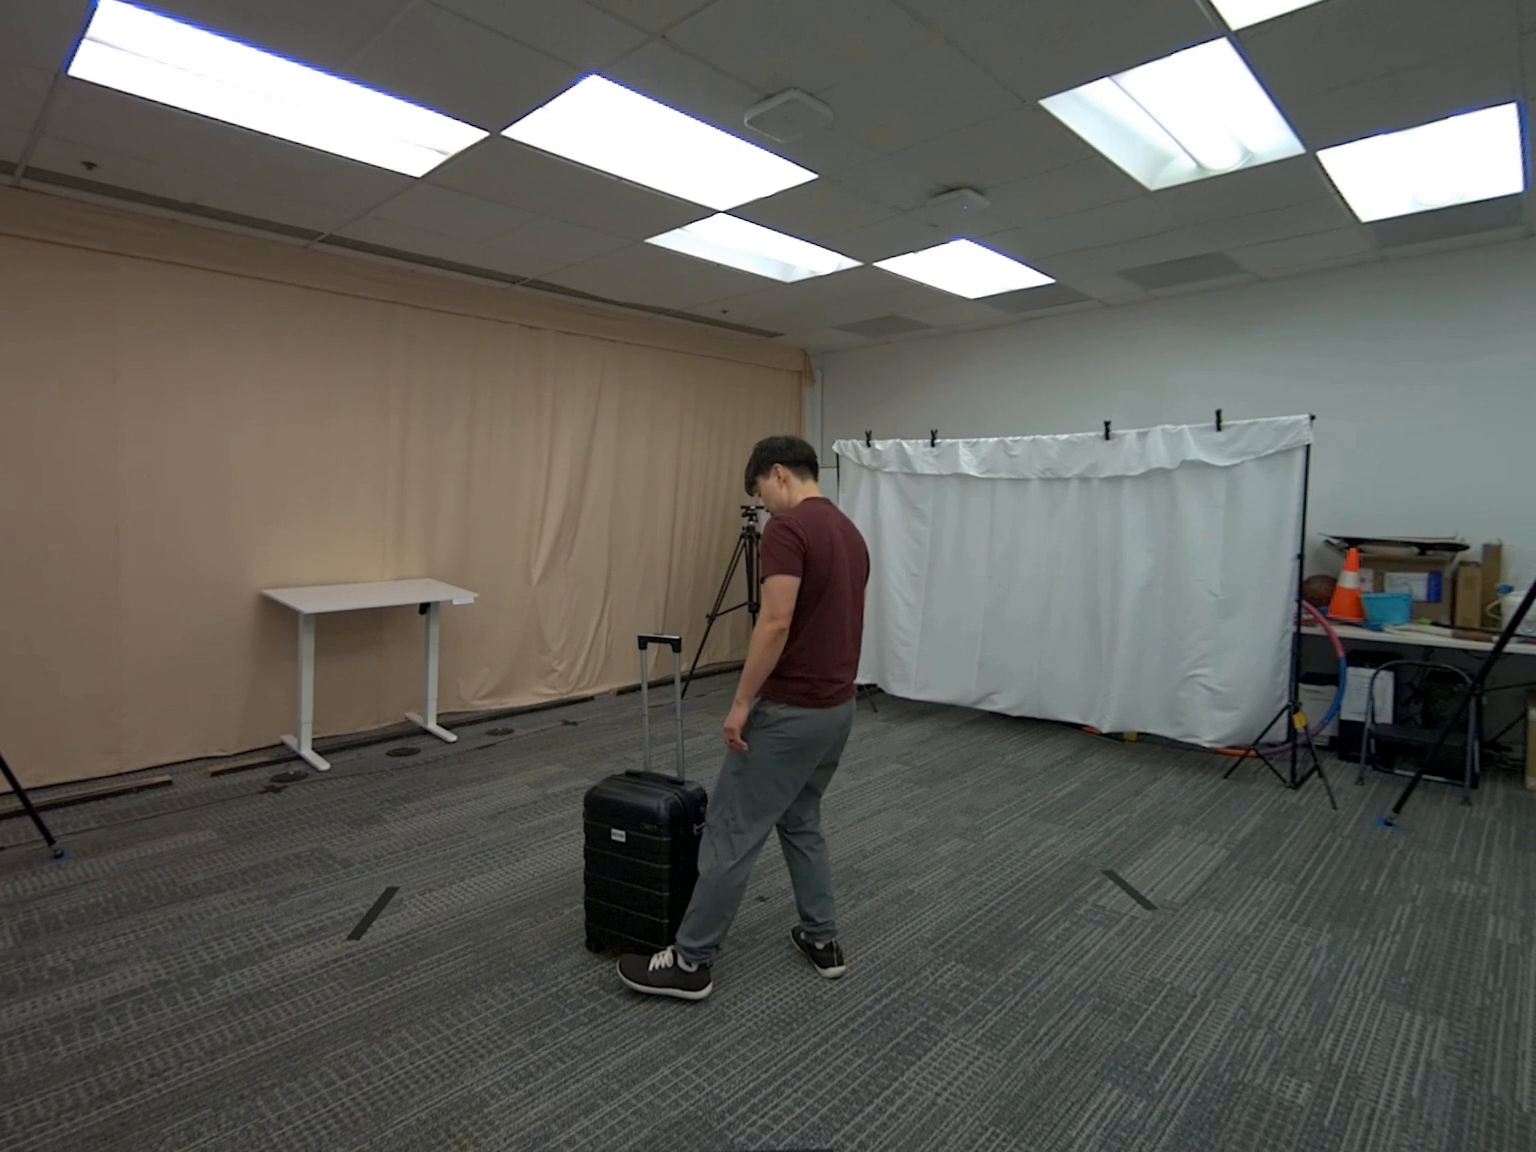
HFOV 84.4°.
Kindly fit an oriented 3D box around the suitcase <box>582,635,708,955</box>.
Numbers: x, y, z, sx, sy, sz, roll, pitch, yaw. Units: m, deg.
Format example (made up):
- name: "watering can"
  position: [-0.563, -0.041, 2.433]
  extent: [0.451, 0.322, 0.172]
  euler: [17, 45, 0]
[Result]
- name: "suitcase"
  position: [-0.375, 0.700, 2.607]
  extent: [0.395, 0.975, 0.250]
  euler: [1, 5, 29]
